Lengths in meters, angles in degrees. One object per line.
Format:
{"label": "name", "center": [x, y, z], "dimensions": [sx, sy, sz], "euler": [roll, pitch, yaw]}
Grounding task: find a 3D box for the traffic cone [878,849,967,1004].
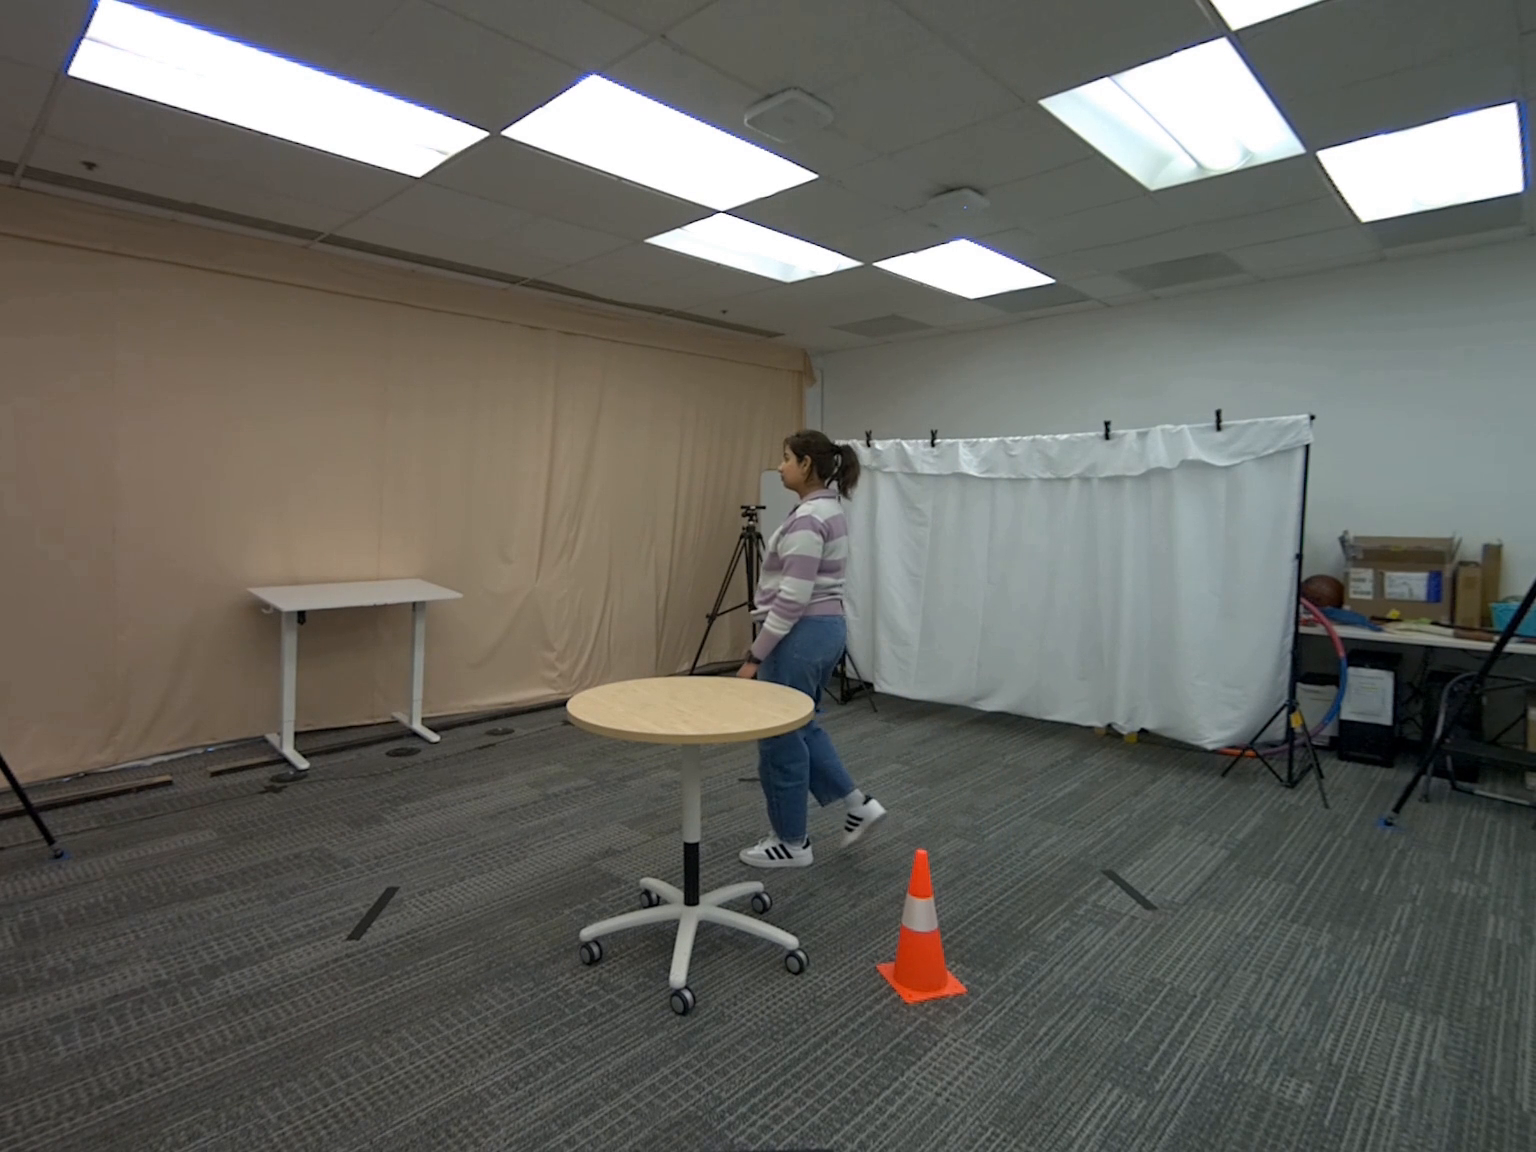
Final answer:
{"label": "traffic cone", "center": [0.452, 1.001, 2.472], "dimensions": [0.200, 0.383, 0.209], "euler": [-2, 3, -18]}
